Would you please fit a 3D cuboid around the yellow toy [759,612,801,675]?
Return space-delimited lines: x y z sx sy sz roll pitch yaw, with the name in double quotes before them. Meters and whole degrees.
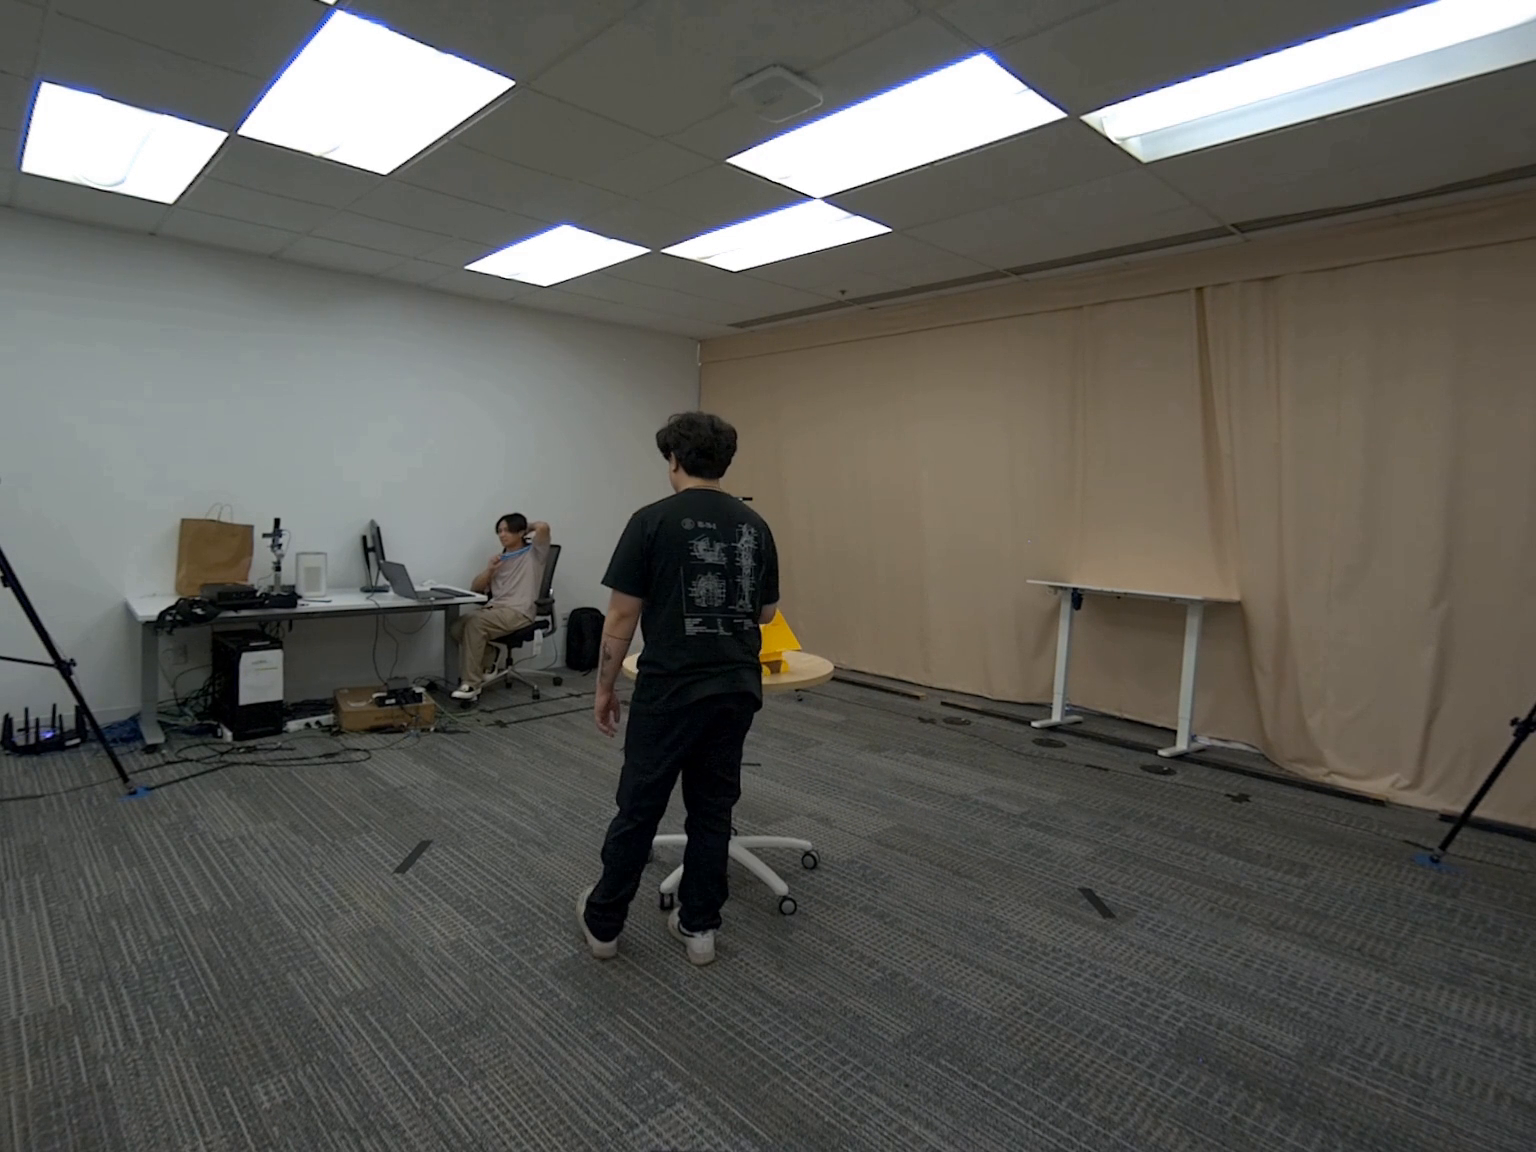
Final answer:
"yellow toy" -0.025 0.216 2.936 0.200 0.230 0.198 -2 4 -40
